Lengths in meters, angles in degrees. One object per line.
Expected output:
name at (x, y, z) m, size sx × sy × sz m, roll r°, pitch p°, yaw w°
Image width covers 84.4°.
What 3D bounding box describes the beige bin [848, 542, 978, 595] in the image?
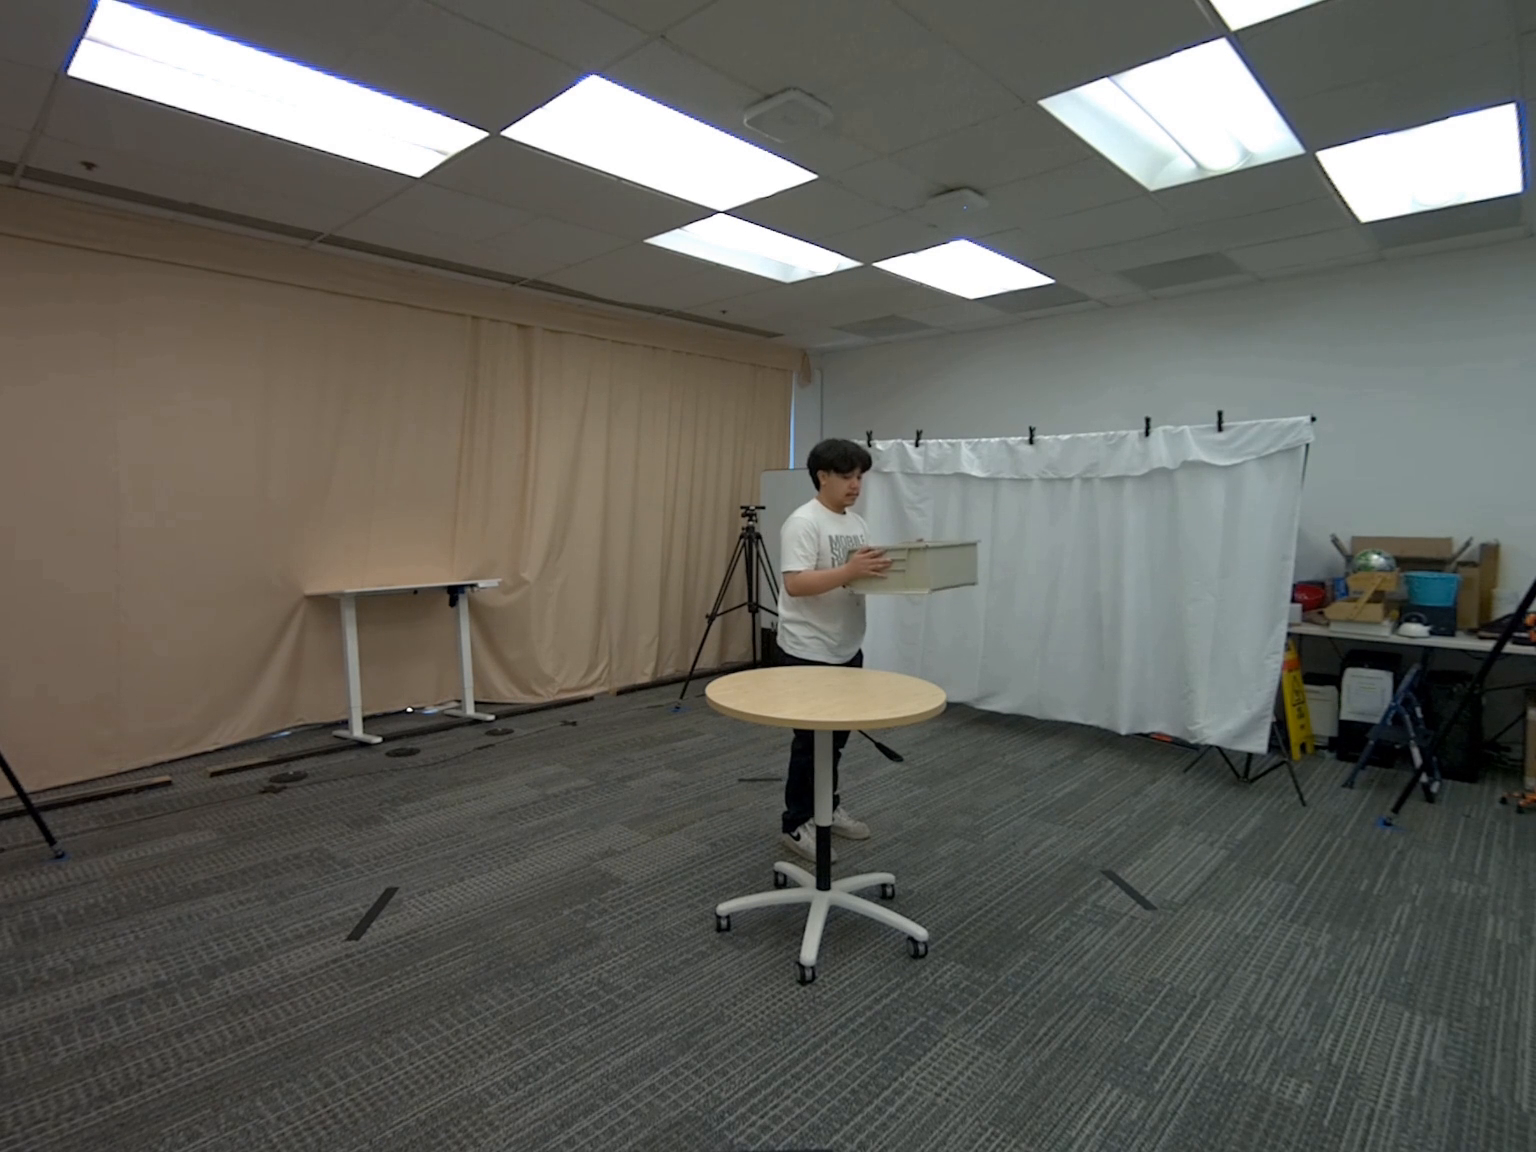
beige bin at (0.557, -0.034, 3.248) m, size 0.389 × 0.189 × 0.409 m, roll 1°, pitch 4°, yaw 44°
